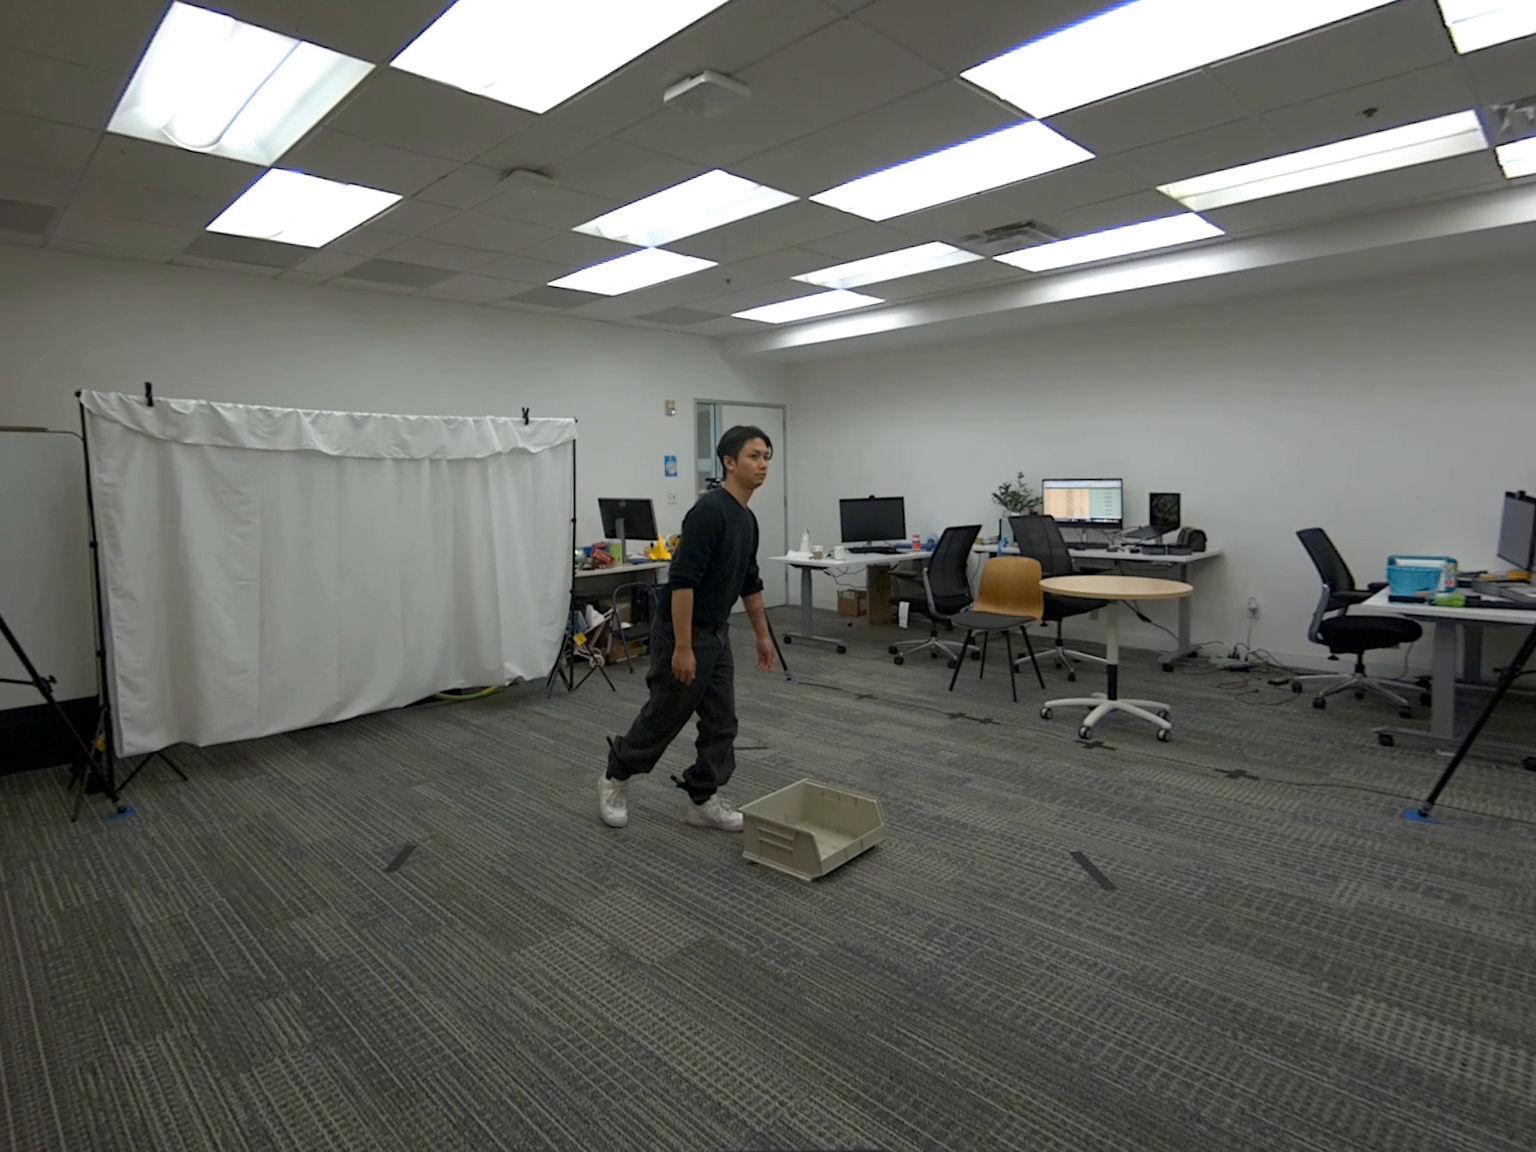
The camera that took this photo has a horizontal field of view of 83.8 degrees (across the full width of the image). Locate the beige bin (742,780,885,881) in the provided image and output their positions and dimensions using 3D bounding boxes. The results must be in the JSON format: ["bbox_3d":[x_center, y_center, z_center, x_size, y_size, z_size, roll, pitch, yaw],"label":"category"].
[{"bbox_3d":[0.170,0.942,3.183,0.389,0.188,0.412,3,8,41],"label":"beige bin"}]
